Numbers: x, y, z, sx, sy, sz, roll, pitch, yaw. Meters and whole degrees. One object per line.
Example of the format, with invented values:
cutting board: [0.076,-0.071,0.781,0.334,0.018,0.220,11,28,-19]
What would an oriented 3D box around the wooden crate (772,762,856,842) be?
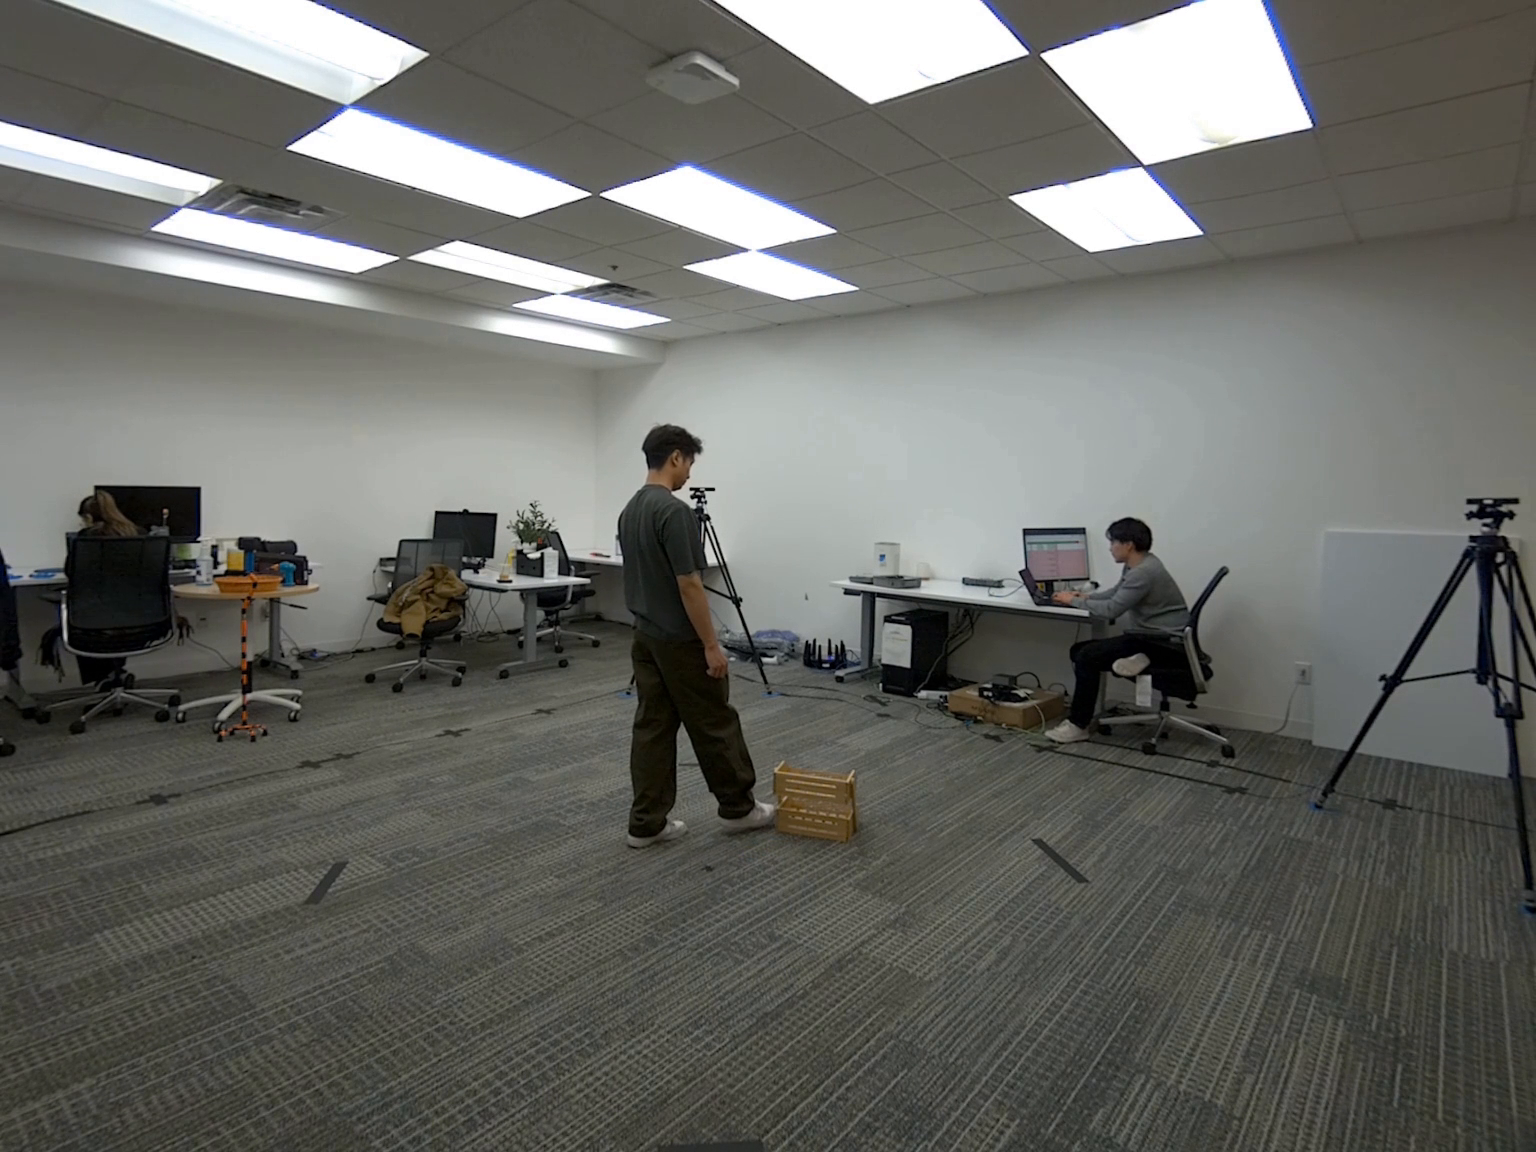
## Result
wooden crate: [0.196,0.908,3.516,0.330,0.272,0.298,2,5,16]
